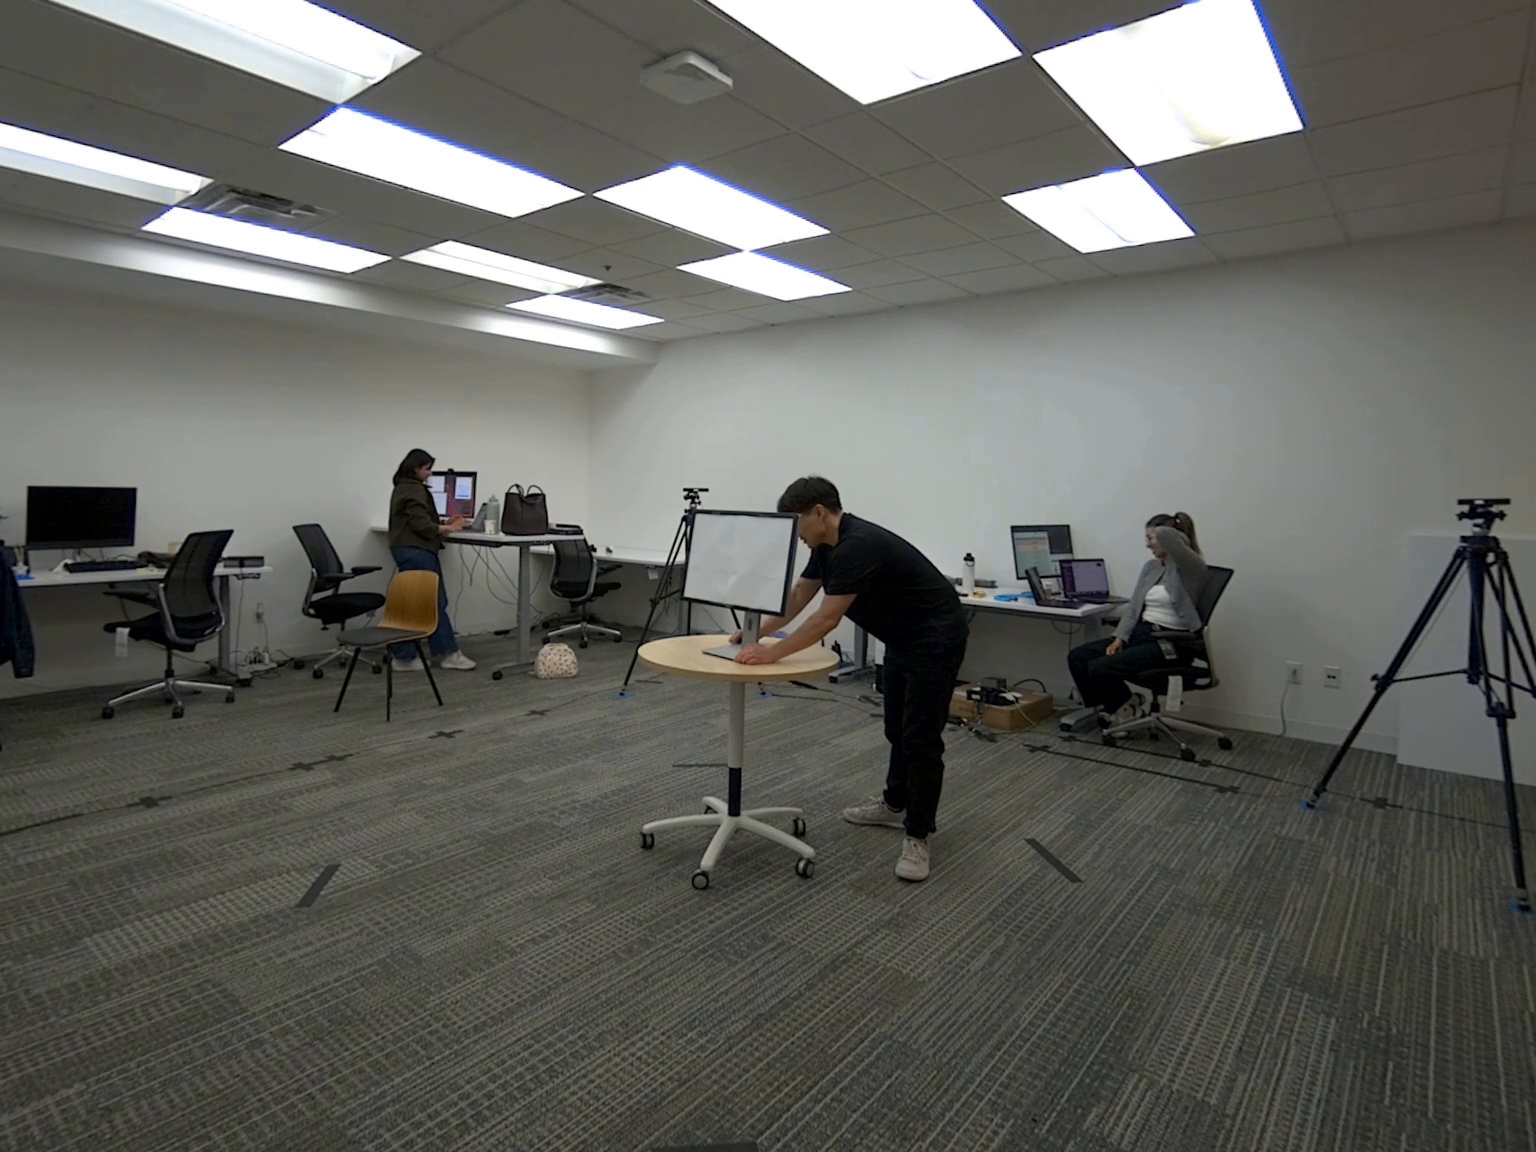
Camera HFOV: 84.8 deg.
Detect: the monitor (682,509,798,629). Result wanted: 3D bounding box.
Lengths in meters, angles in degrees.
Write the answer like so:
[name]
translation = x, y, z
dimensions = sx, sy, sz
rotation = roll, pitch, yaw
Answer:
[monitor]
translation = -0.104, 0.027, 3.181
dimensions = 0.557, 0.521, 0.181
rotation = 4, 6, 43
